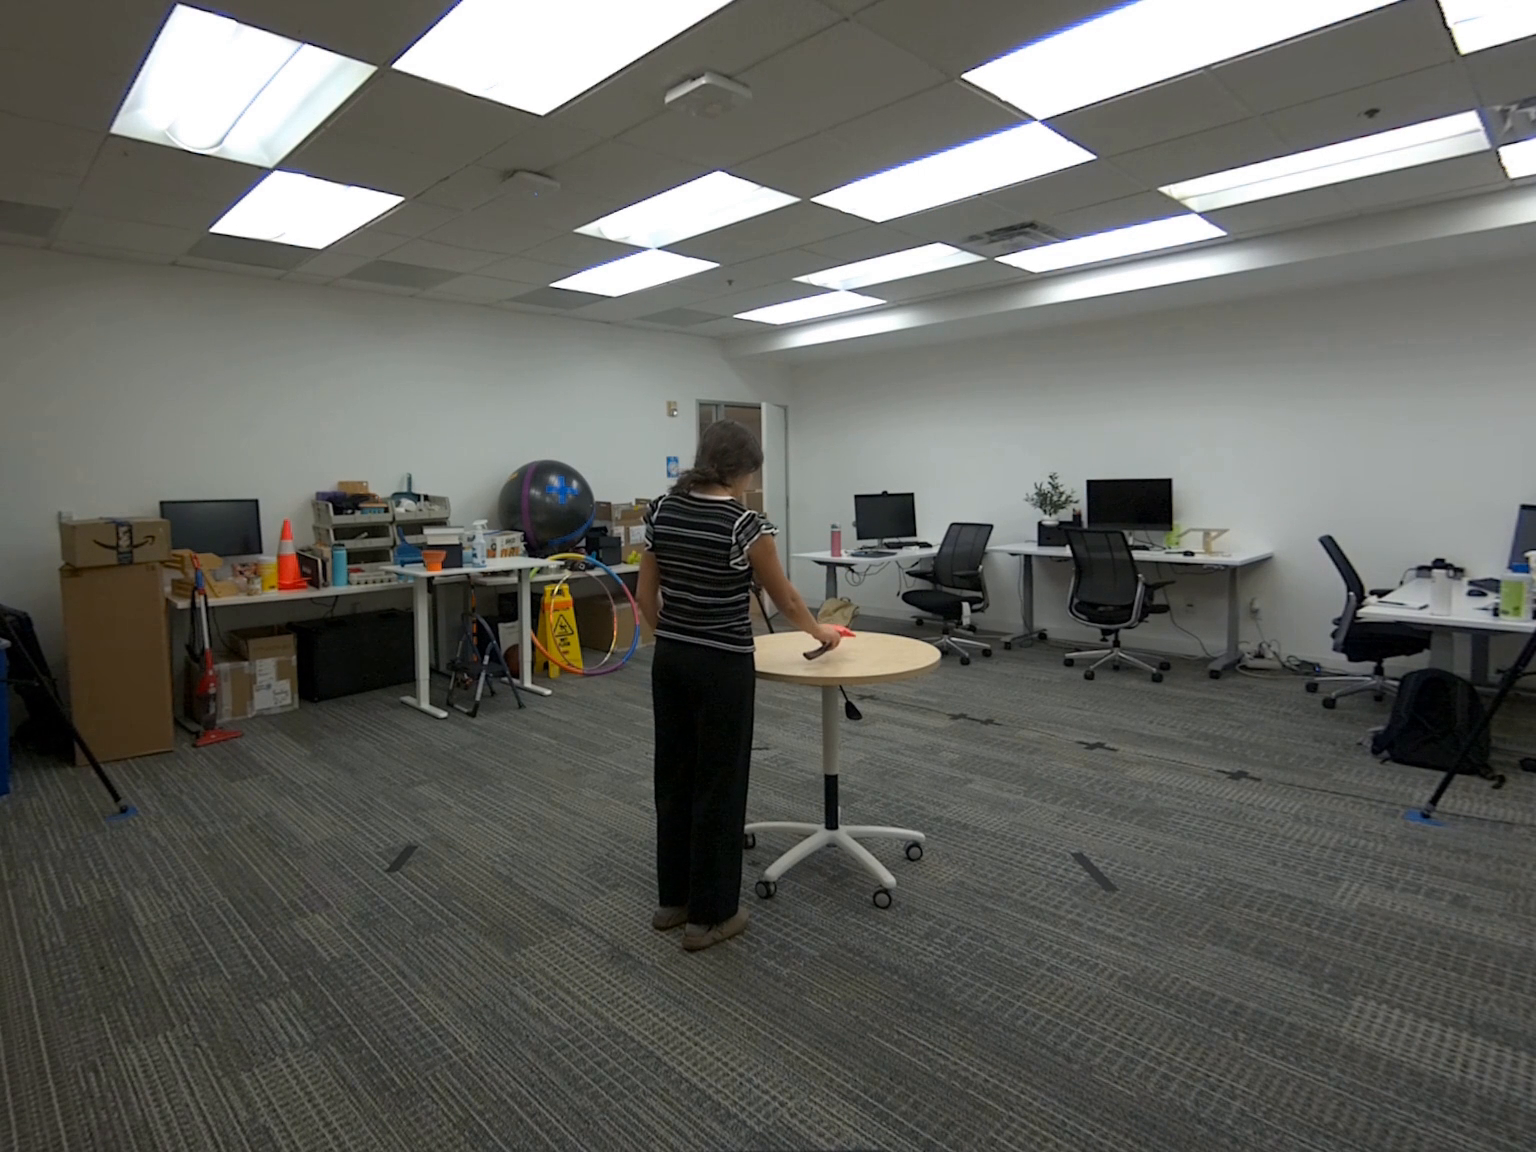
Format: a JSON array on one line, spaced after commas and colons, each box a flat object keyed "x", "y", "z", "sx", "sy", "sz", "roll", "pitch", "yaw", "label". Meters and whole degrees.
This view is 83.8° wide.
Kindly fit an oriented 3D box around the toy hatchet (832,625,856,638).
[{"x": 0.202, "y": 0.217, "z": 2.919, "sx": 0.135, "sy": 0.029, "sz": 0.266, "roll": 22, "pitch": 25, "yaw": 27, "label": "toy hatchet"}]
